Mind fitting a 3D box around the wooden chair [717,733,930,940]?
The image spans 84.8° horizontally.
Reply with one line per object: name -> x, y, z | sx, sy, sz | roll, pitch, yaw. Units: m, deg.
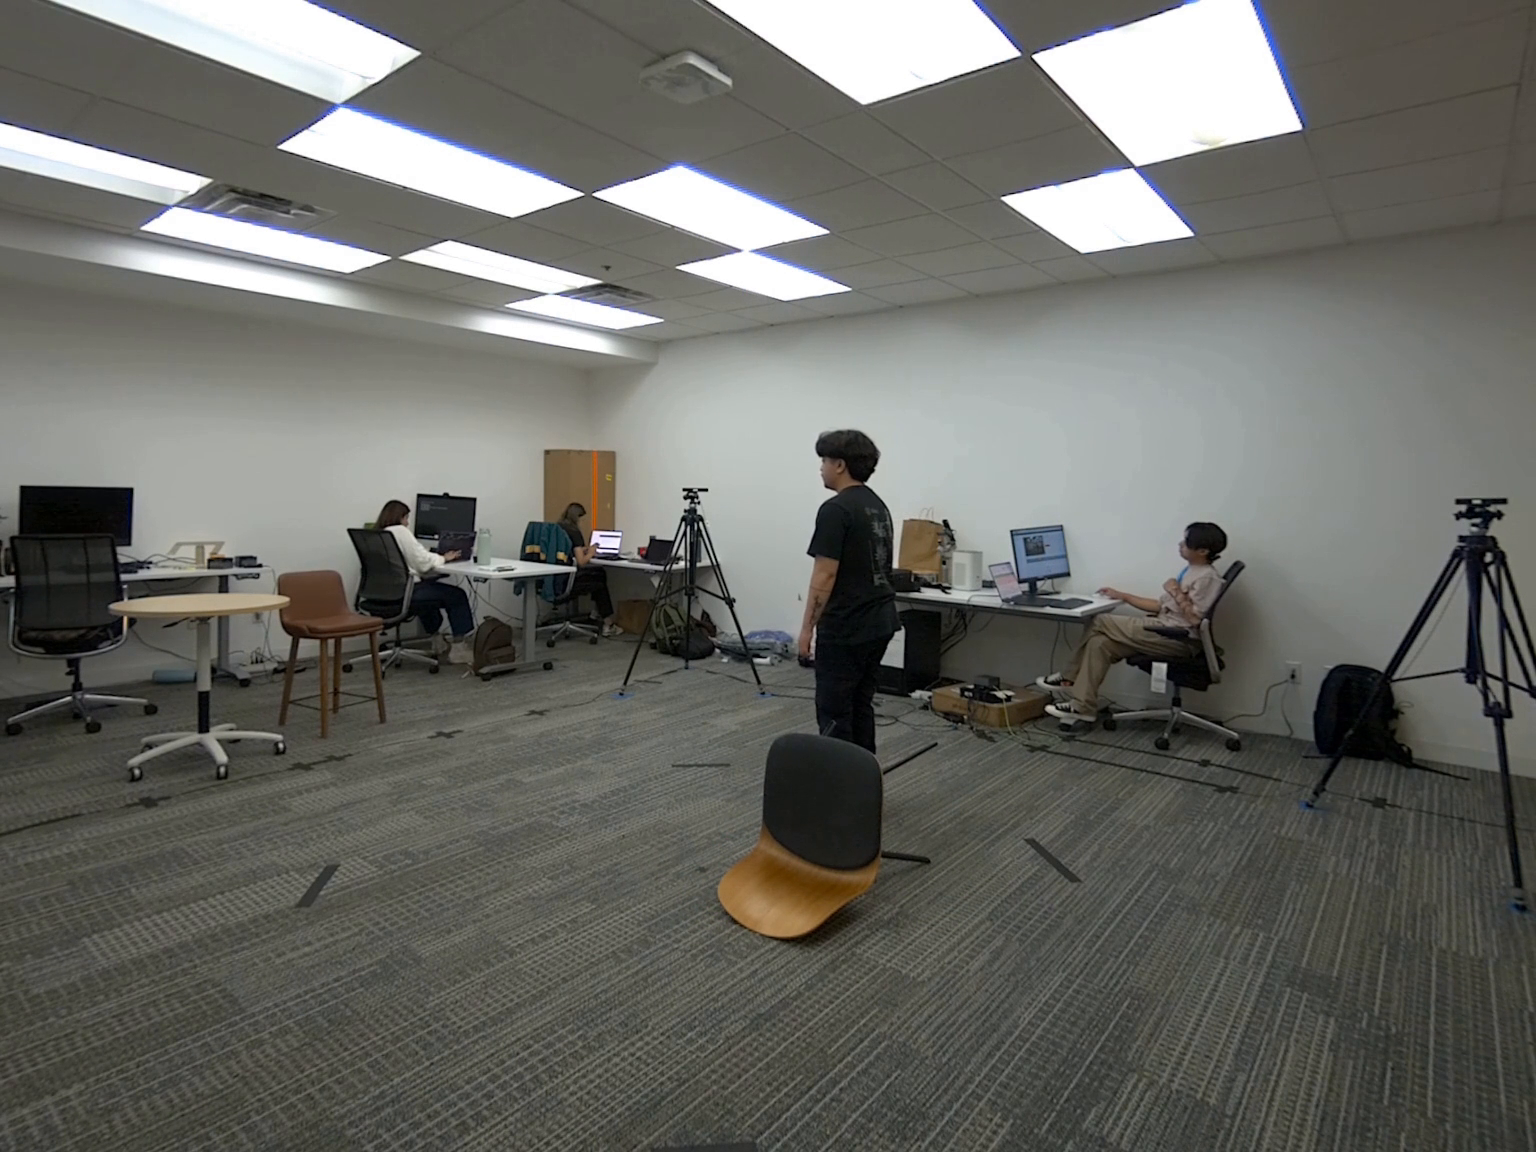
wooden chair -> 0.196, 0.830, 3.001 | 0.493, 0.521, 0.854 | 4, 7, 35
